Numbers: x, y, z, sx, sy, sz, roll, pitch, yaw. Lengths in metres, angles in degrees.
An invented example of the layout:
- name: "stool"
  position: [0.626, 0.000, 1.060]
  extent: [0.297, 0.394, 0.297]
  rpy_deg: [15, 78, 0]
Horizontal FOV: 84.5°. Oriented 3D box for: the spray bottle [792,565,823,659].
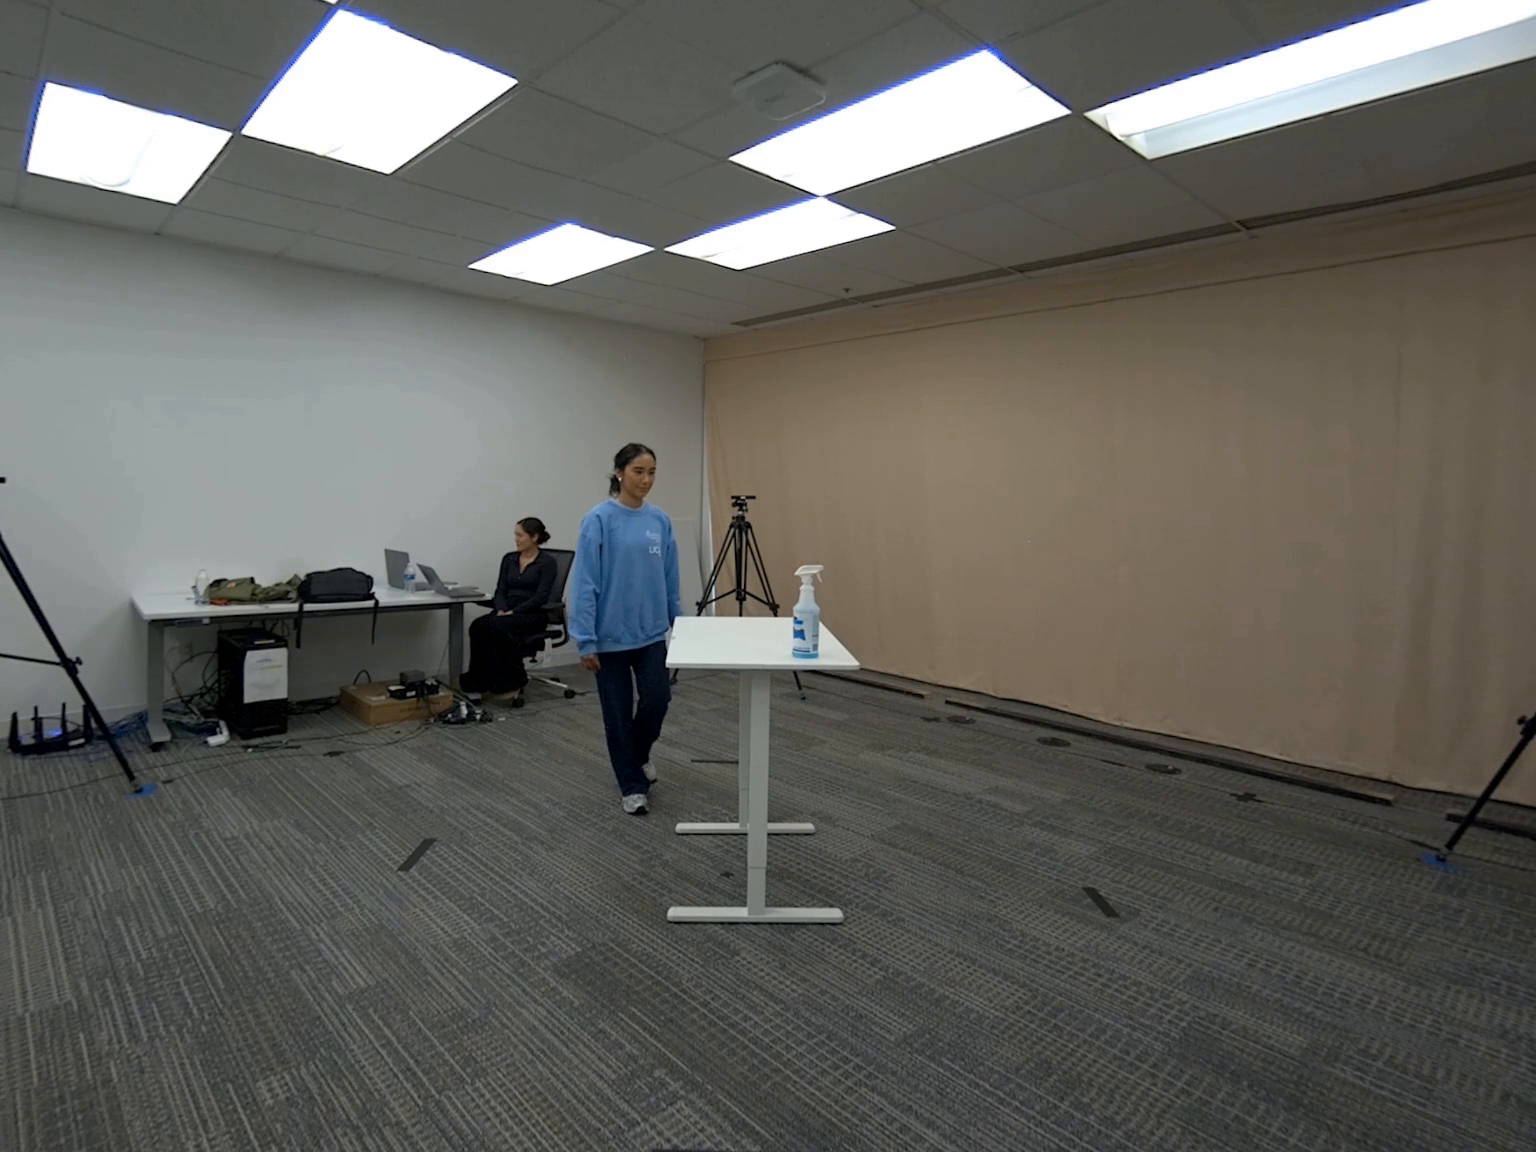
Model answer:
- name: "spray bottle"
  position: [0.122, 0.117, 2.716]
  extent: [0.091, 0.297, 0.086]
  rpy_deg: [2, 2, 15]
